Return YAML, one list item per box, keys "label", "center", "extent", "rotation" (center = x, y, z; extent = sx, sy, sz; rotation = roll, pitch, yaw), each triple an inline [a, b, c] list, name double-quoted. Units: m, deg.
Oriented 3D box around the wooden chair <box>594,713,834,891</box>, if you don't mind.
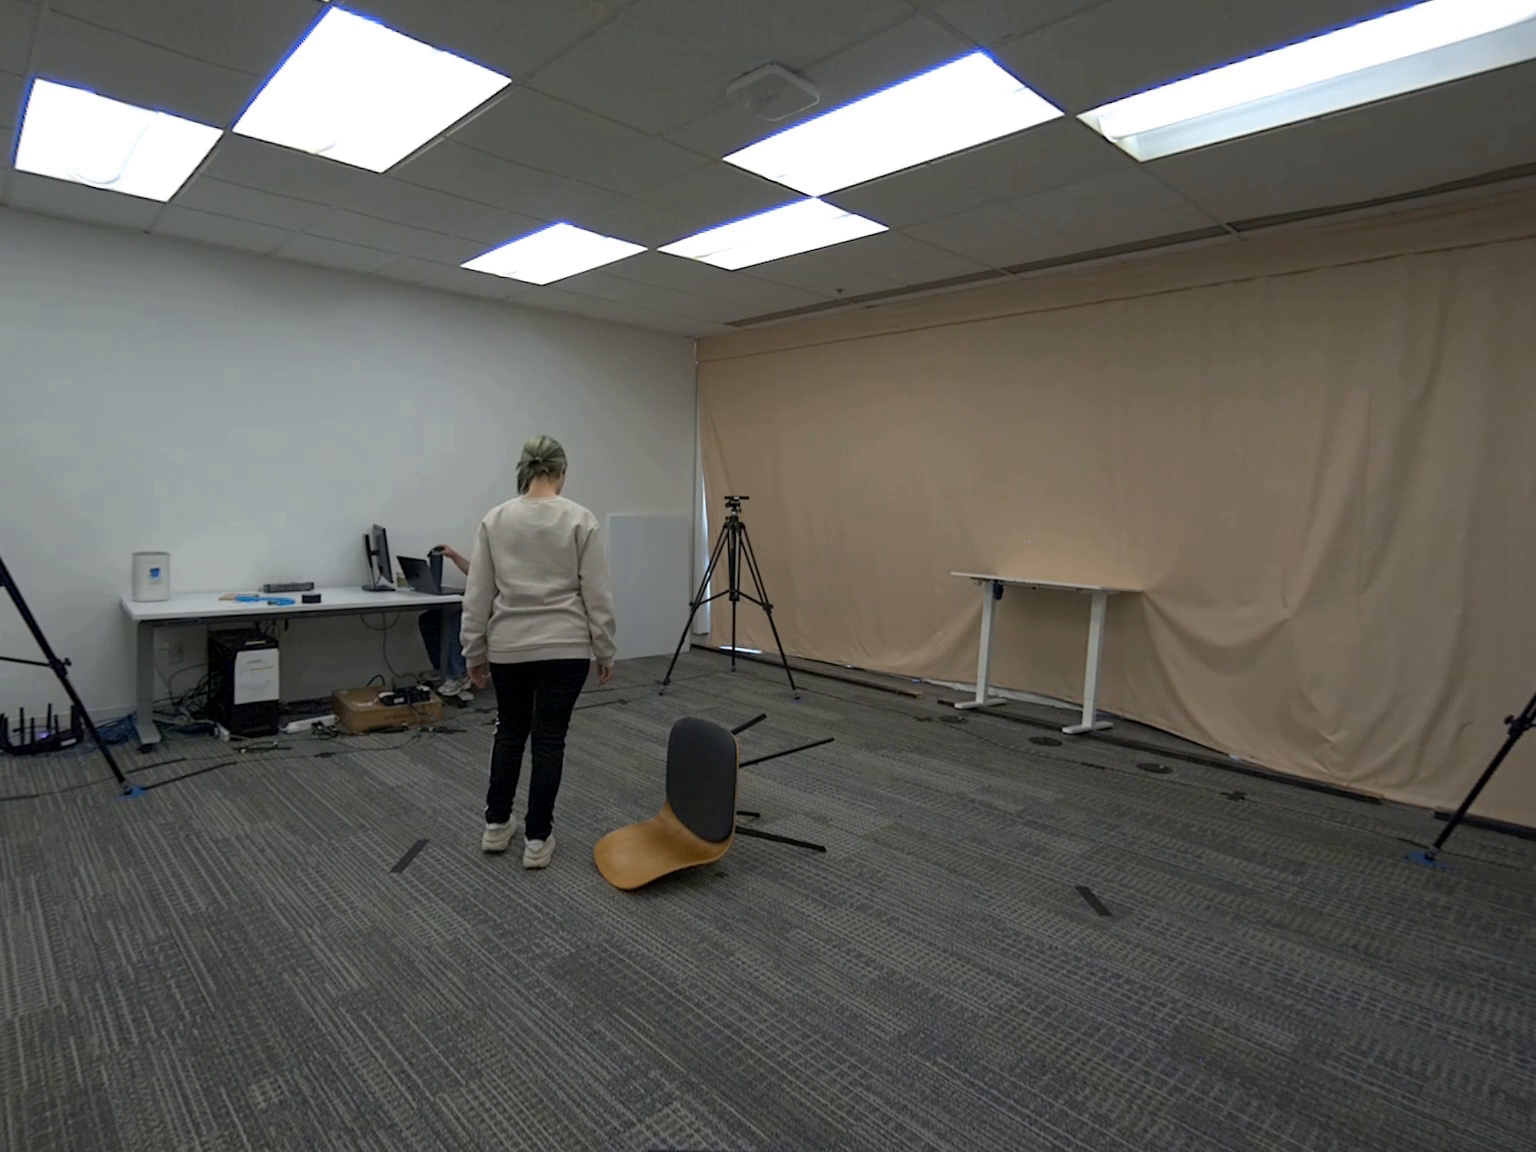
- label: "wooden chair"
  center: [-0.237, 0.829, 3.267]
  extent: [0.859, 0.521, 0.490]
  rotation: [-4, 6, -36]
